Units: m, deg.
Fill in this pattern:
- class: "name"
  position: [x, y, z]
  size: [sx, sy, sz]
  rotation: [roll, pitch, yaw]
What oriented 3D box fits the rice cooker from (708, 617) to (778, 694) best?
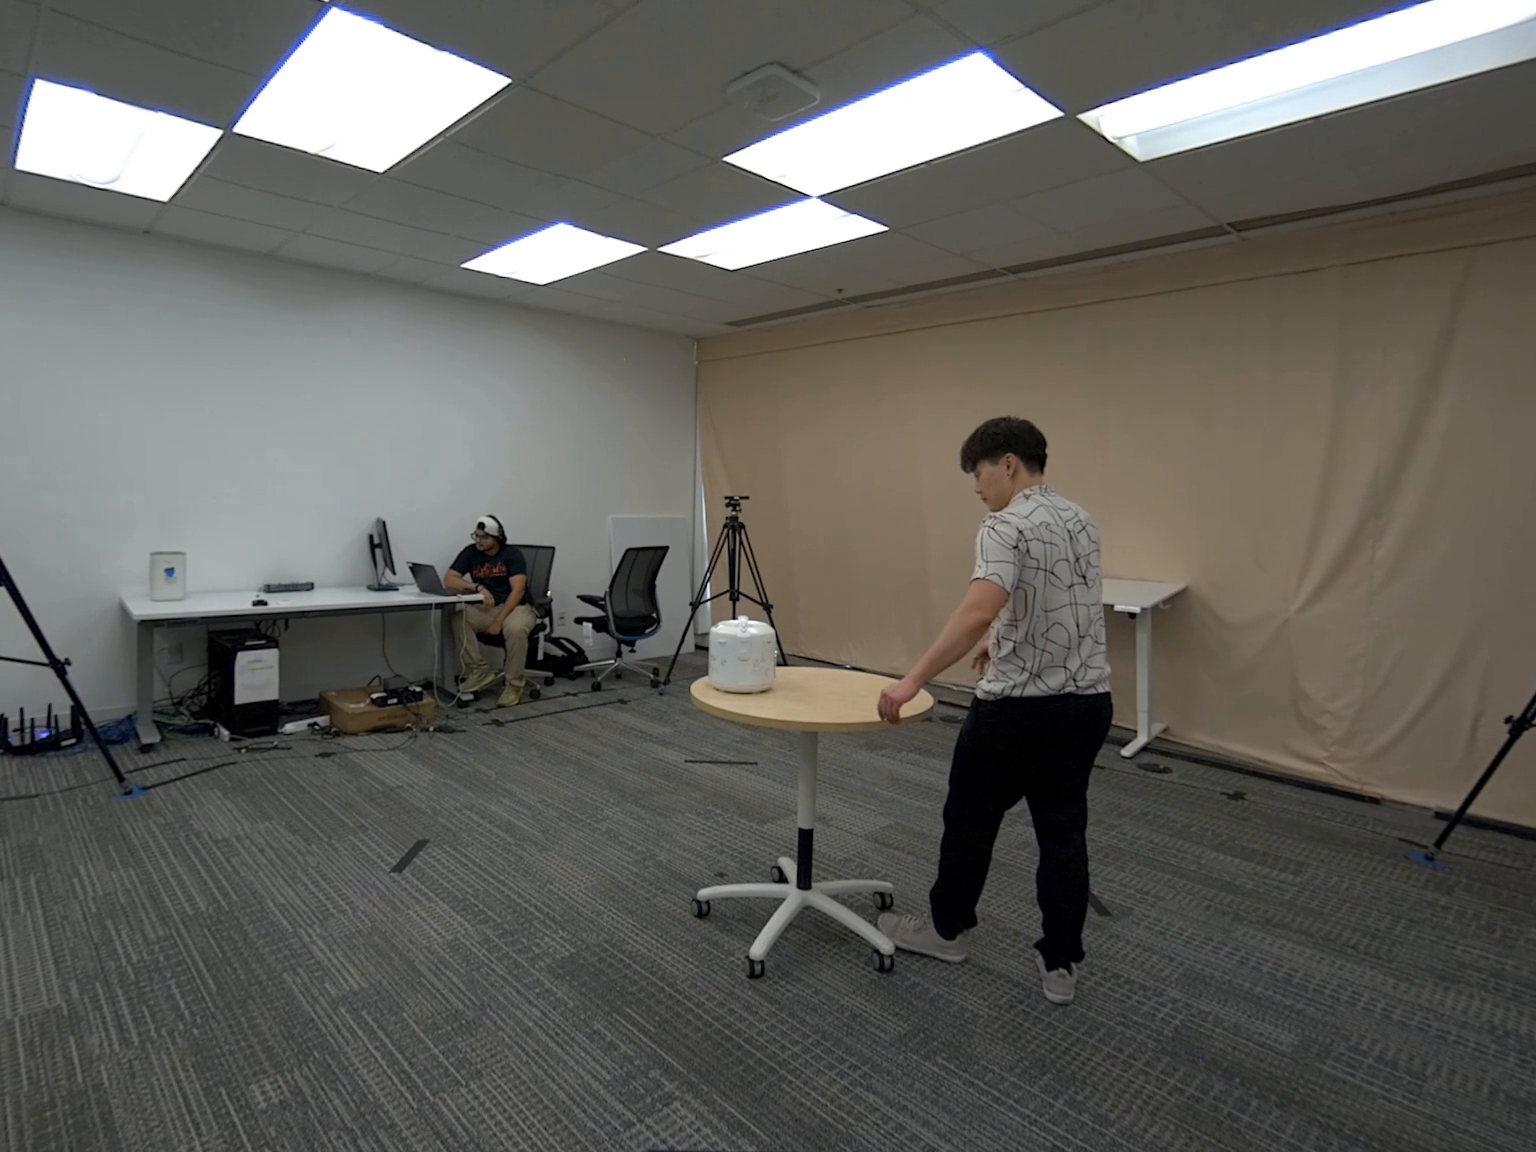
- class: "rice cooker"
  position: [-0.086, 0.245, 2.687]
  size: [0.217, 0.232, 0.221]
  rotation: [0, 4, -2]
